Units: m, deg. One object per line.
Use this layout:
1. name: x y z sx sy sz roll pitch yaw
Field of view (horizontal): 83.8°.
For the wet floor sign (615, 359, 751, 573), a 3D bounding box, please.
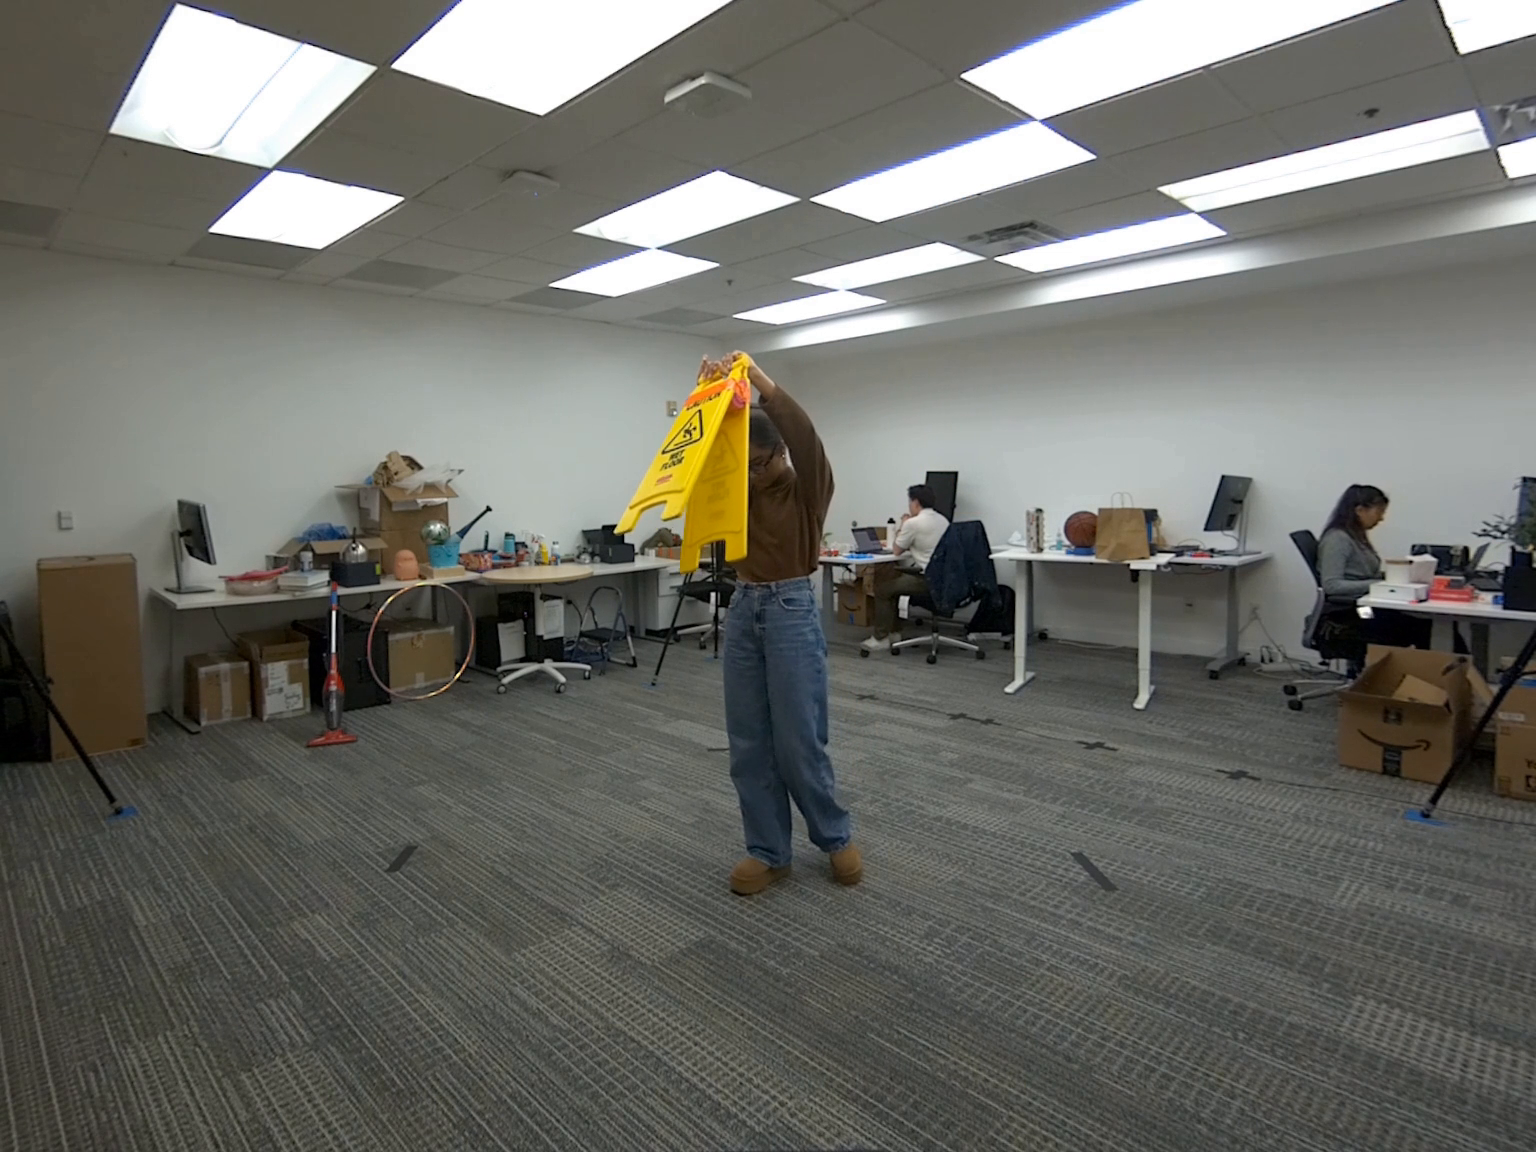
1. wet floor sign: -0.185 -0.372 2.530 0.288 0.656 0.279 -14 -34 43
